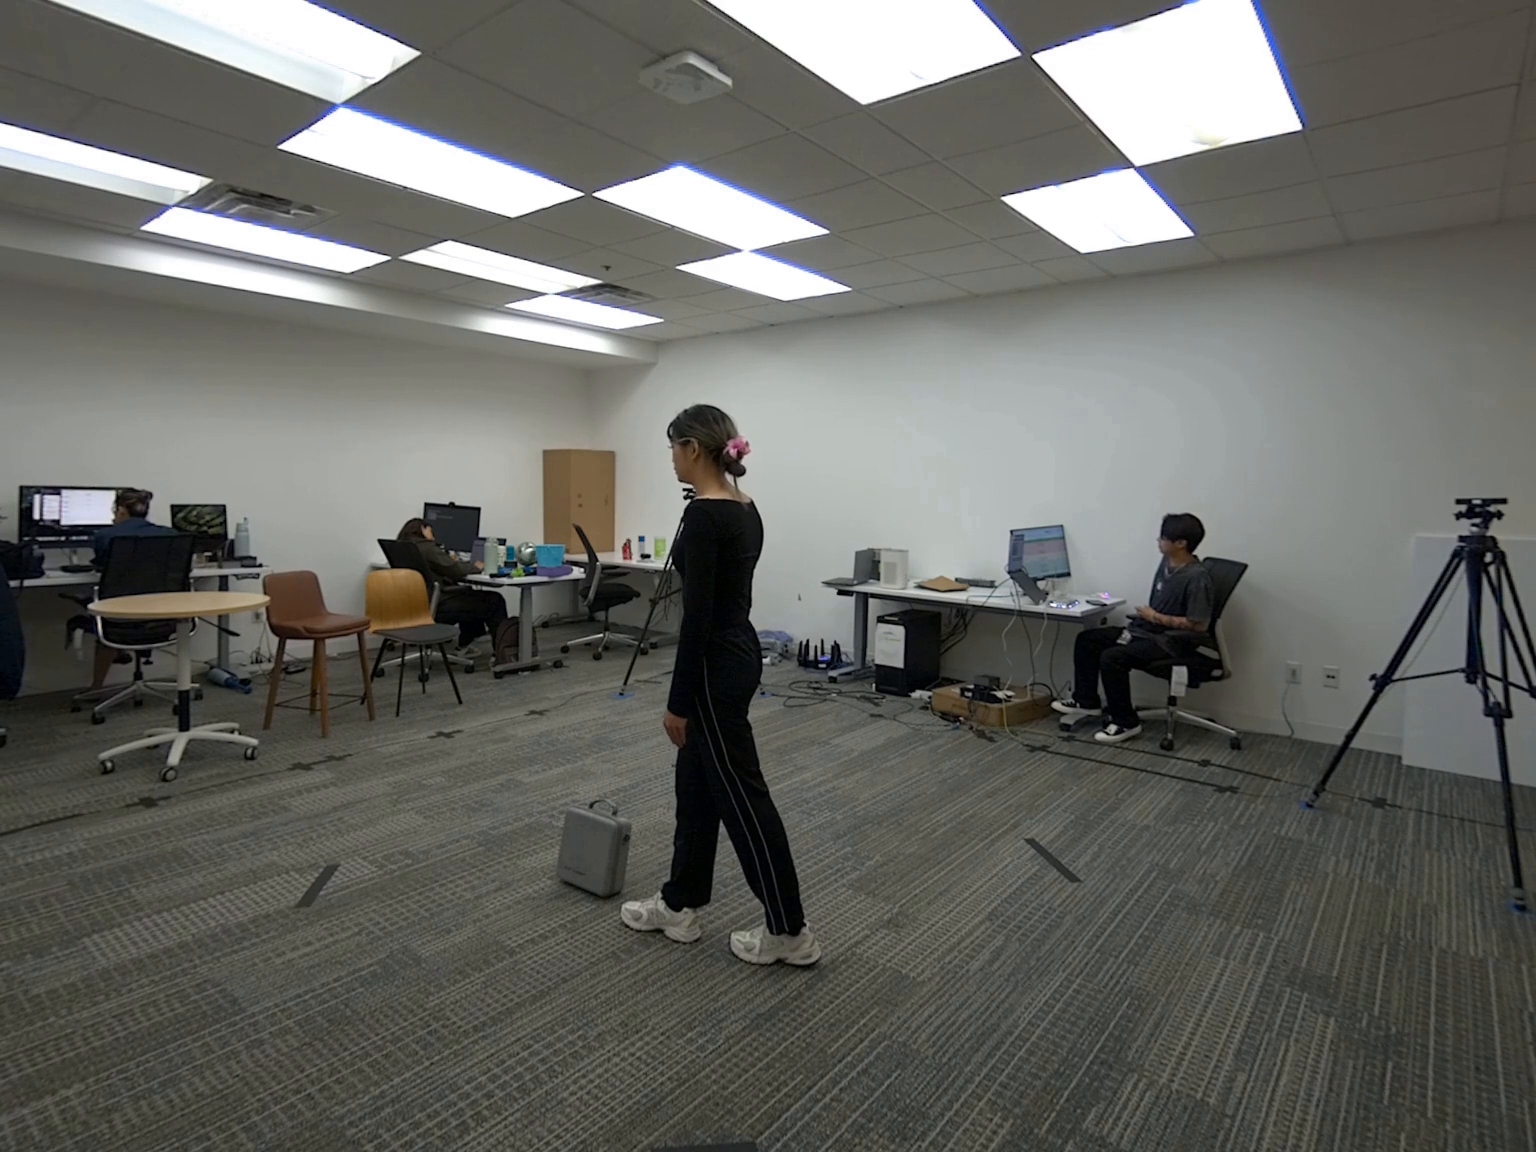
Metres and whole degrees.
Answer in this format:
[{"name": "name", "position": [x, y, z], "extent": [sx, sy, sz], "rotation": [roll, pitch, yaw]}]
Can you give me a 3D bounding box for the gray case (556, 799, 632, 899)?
[{"name": "gray case", "position": [-0.617, 0.942, 2.965], "extent": [0.265, 0.262, 0.100], "rotation": [4, -7, 36]}]
